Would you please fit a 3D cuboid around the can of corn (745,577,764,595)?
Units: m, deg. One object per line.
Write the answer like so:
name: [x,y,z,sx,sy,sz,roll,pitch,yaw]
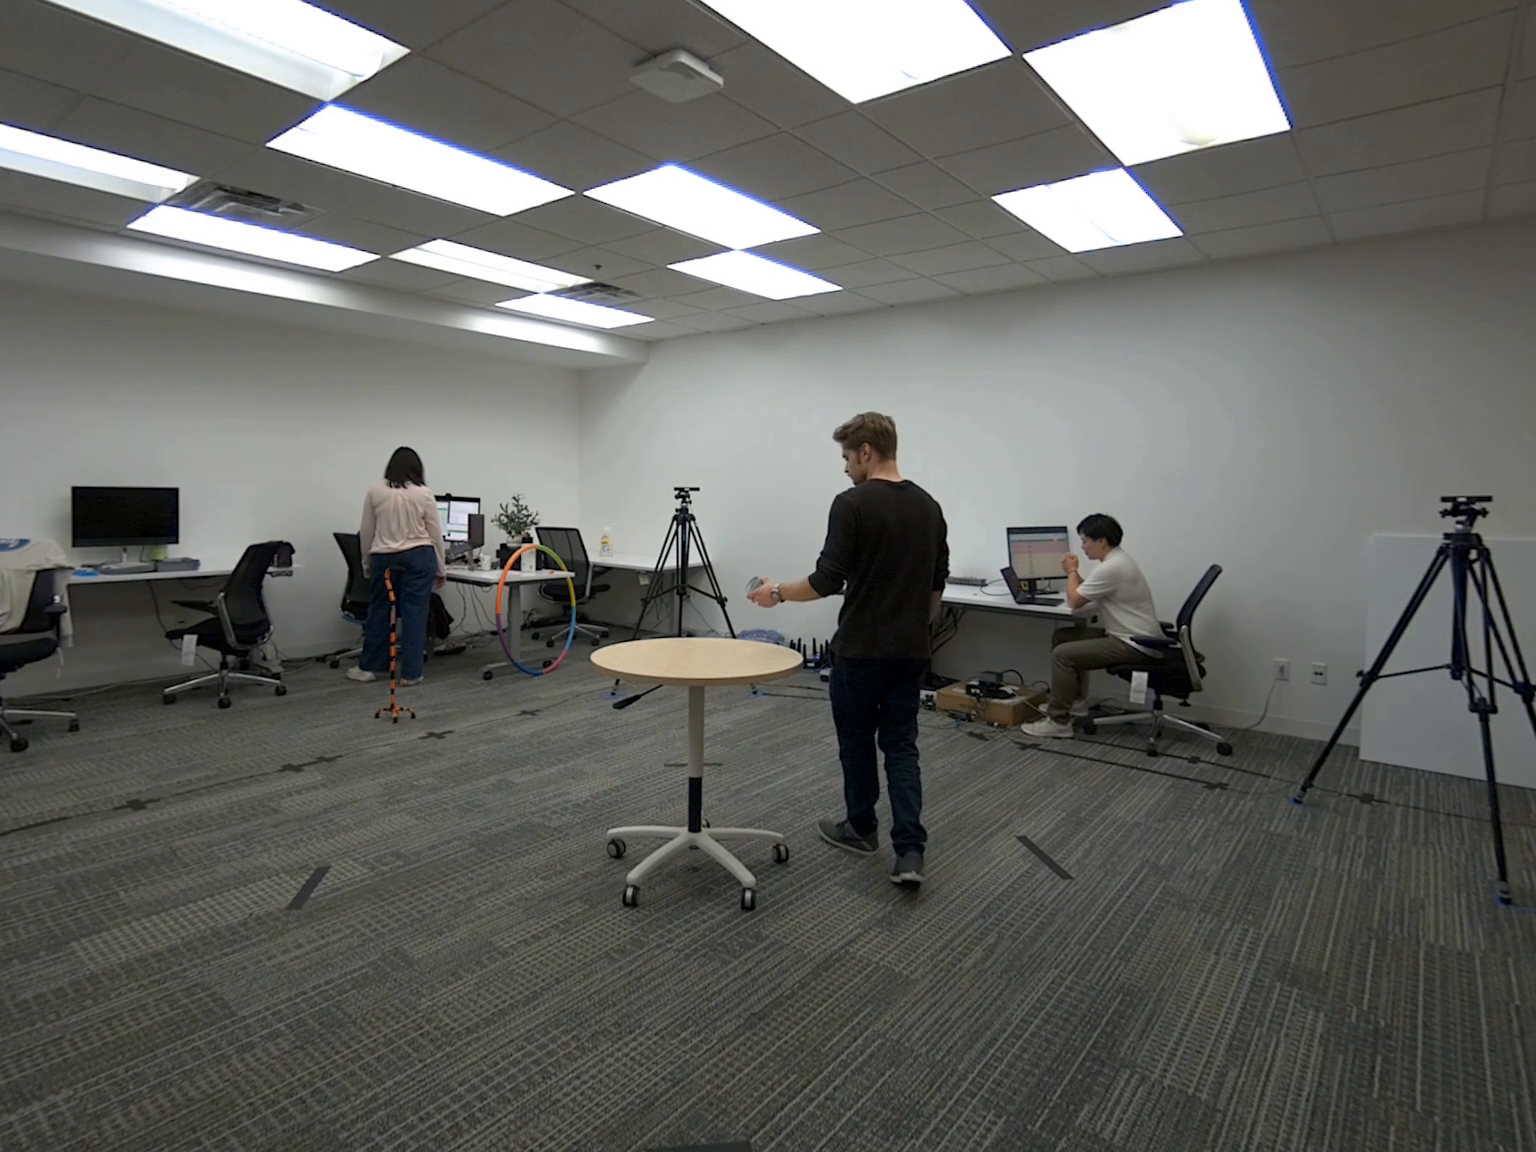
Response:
can of corn: [-0.032,0.057,3.279,0.109,0.074,0.075,35,-6,-15]
